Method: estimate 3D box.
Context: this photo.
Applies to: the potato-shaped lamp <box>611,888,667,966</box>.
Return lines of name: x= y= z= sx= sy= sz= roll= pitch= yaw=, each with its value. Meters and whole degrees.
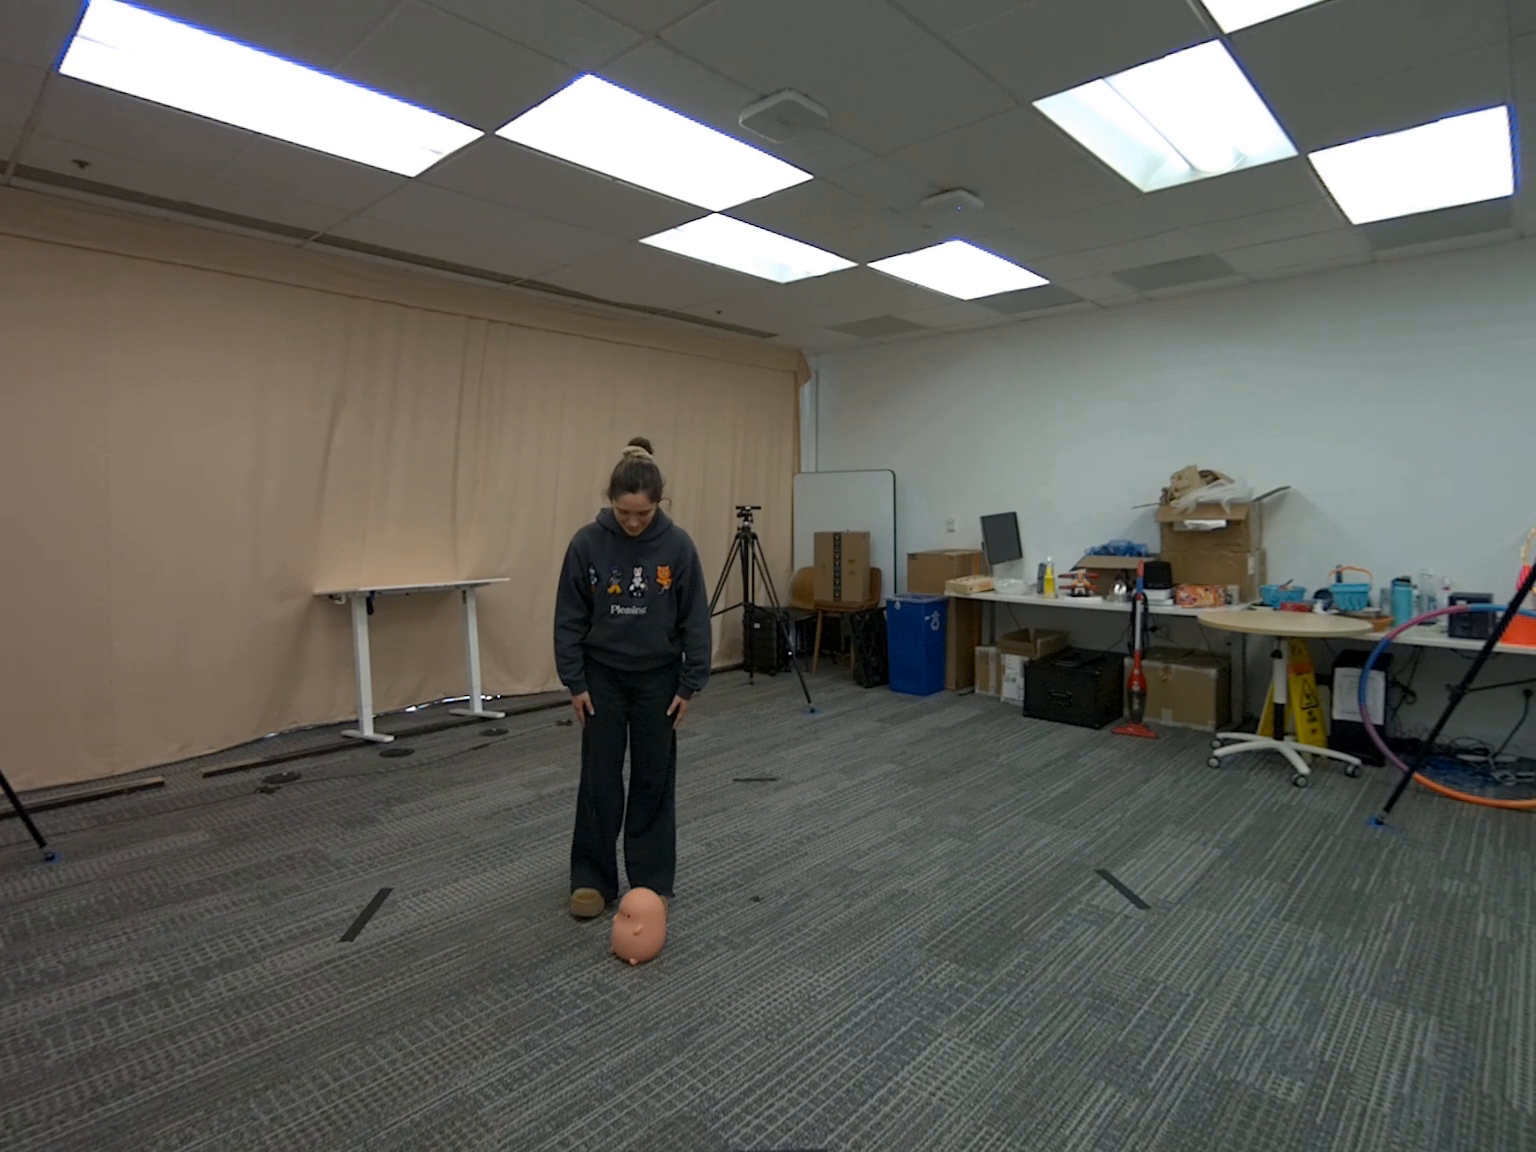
potato-shaped lamp: x=-0.387 y=1.074 z=2.628 sx=0.166 sy=0.198 sz=0.170 roll=-4 pitch=4 yaw=-42
